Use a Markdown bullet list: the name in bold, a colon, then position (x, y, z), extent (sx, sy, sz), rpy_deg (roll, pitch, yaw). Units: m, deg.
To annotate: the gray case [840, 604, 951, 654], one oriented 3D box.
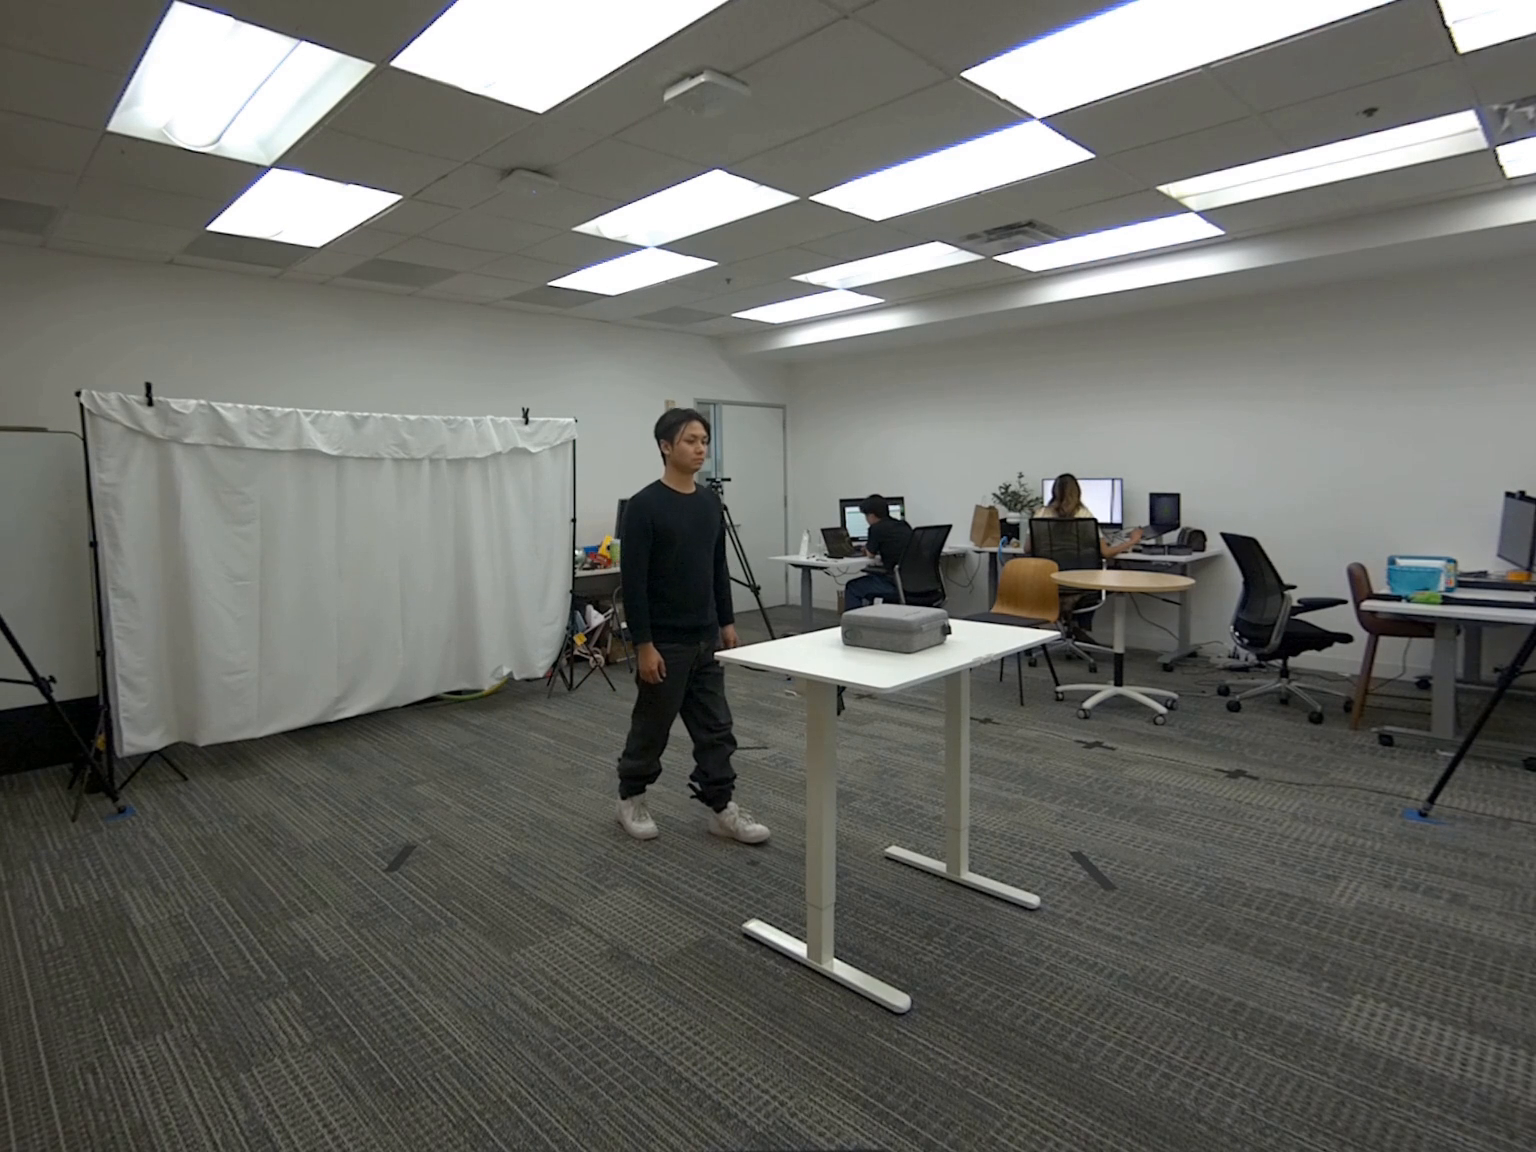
- **gray case**: position (0.388, 0.156, 2.616), extent (0.268, 0.104, 0.250), rpy_deg (4, 8, 39)
